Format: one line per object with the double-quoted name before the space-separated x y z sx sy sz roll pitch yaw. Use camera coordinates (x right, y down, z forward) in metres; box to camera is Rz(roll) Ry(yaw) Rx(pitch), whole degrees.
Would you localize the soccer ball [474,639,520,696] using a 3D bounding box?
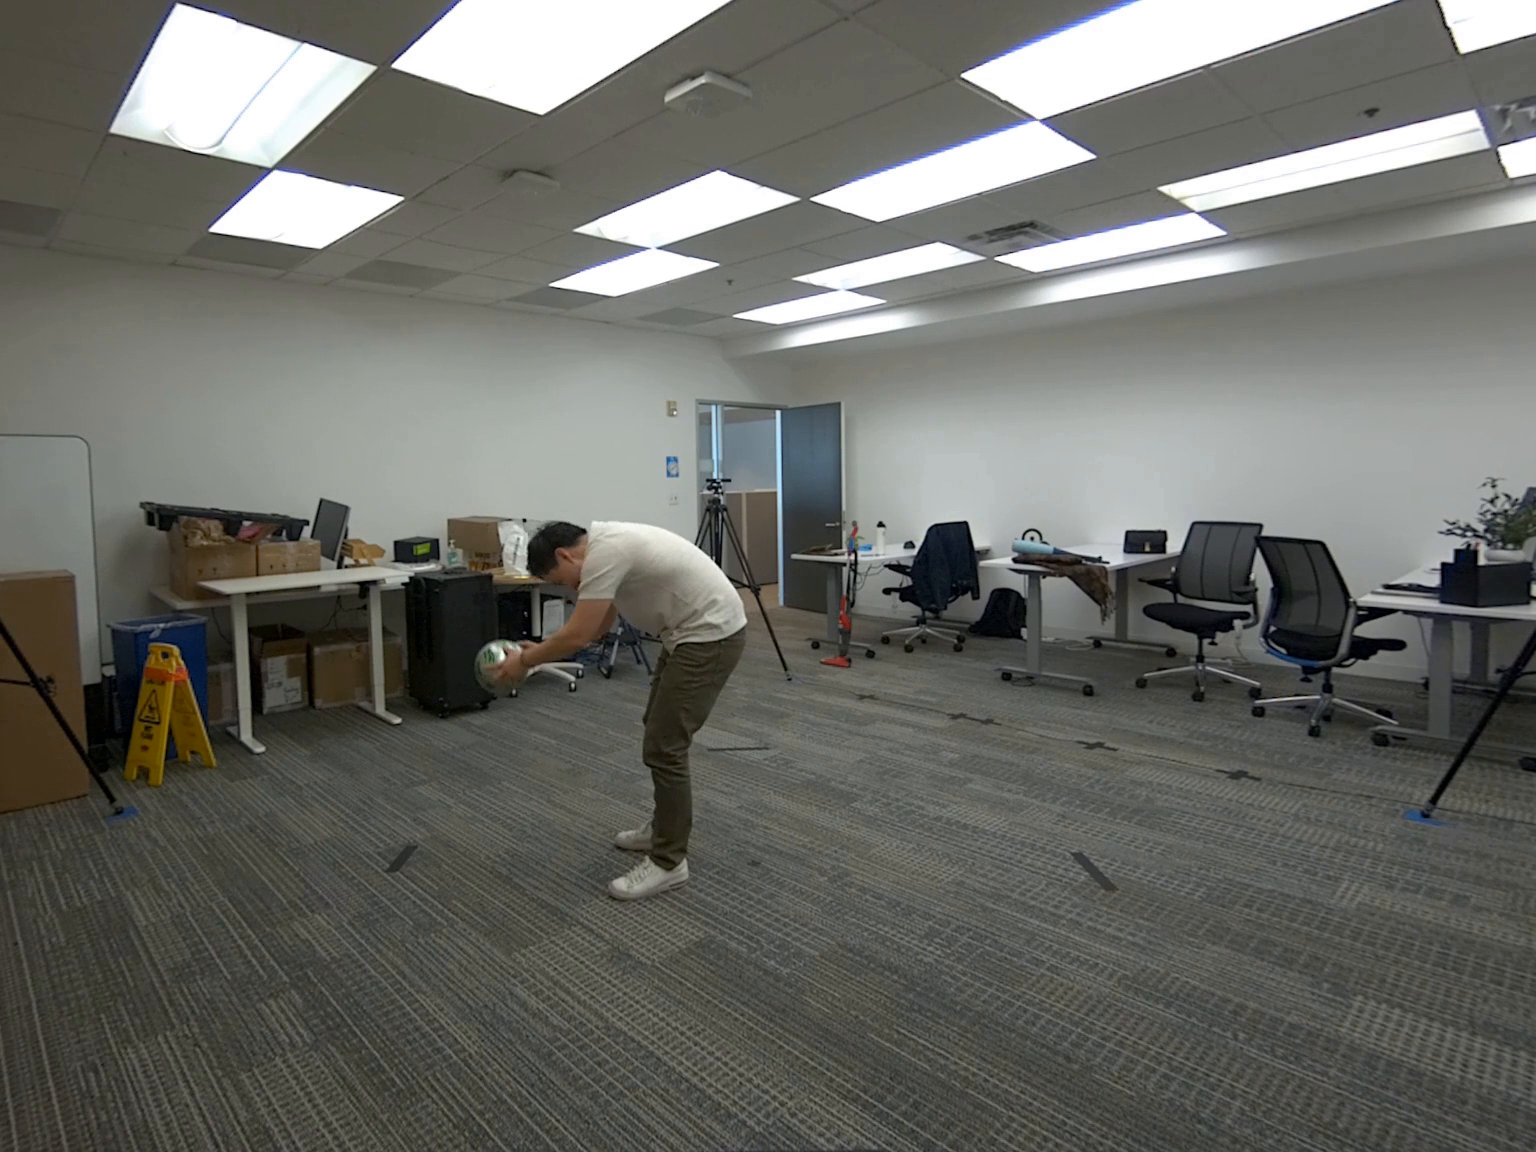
"soccer ball" -0.925 0.293 3.044 0.187 0.187 0.188 -1 5 -2
